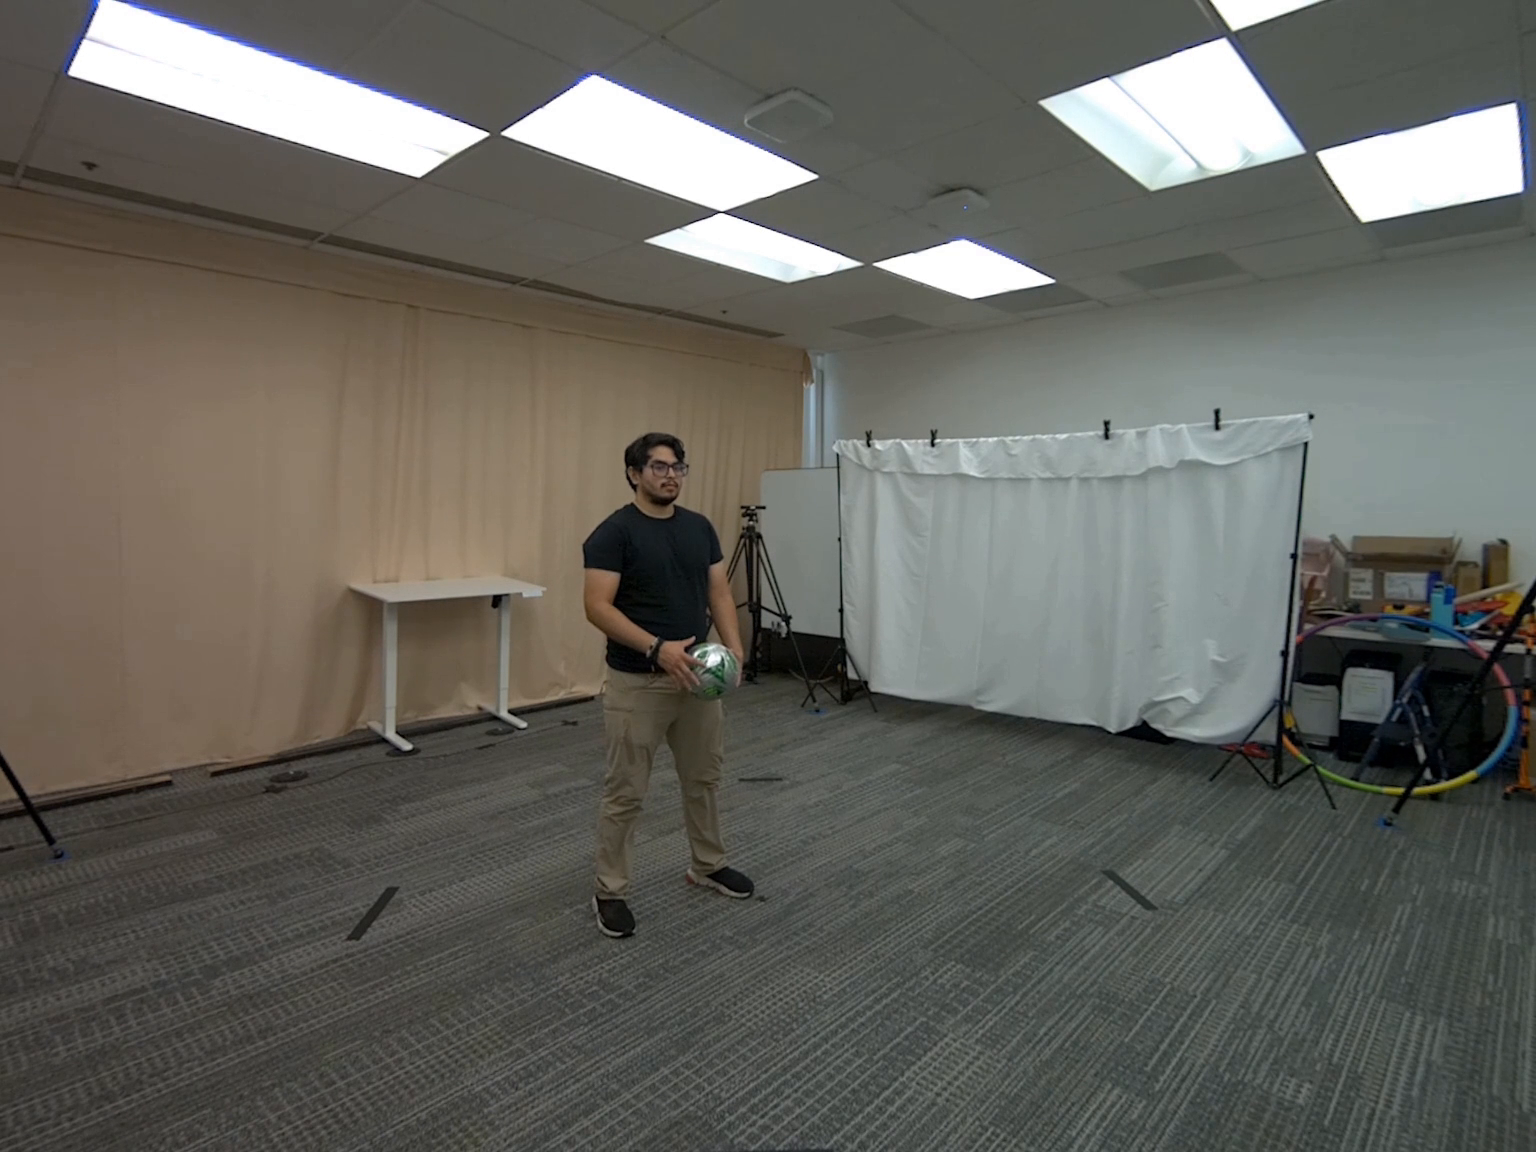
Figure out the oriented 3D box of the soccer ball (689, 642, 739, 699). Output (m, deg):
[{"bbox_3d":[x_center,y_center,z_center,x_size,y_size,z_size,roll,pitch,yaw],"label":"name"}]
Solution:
[{"bbox_3d":[-0.189,0.300,2.671,0.187,0.187,0.188,0,4,-2],"label":"soccer ball"}]
